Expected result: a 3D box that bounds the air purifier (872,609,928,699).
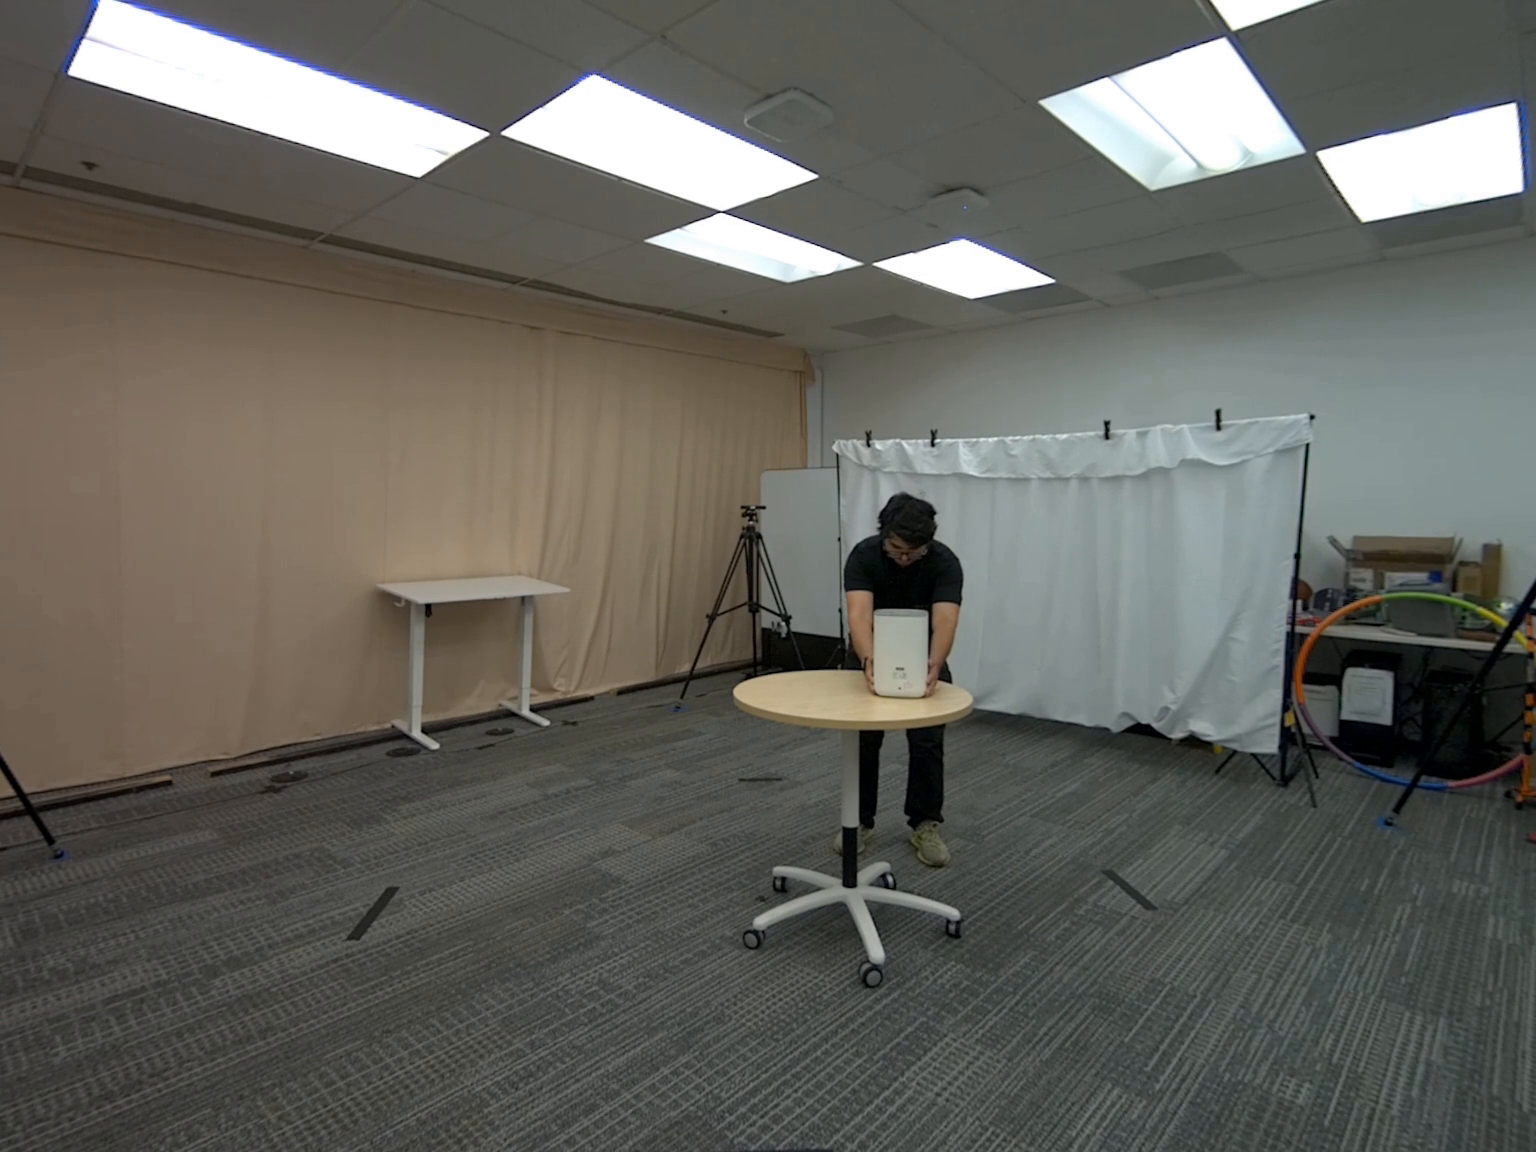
[{"bbox_3d":[0.425,0.246,2.718,0.174,0.265,0.169,1,3,13],"label":"air purifier"}]
